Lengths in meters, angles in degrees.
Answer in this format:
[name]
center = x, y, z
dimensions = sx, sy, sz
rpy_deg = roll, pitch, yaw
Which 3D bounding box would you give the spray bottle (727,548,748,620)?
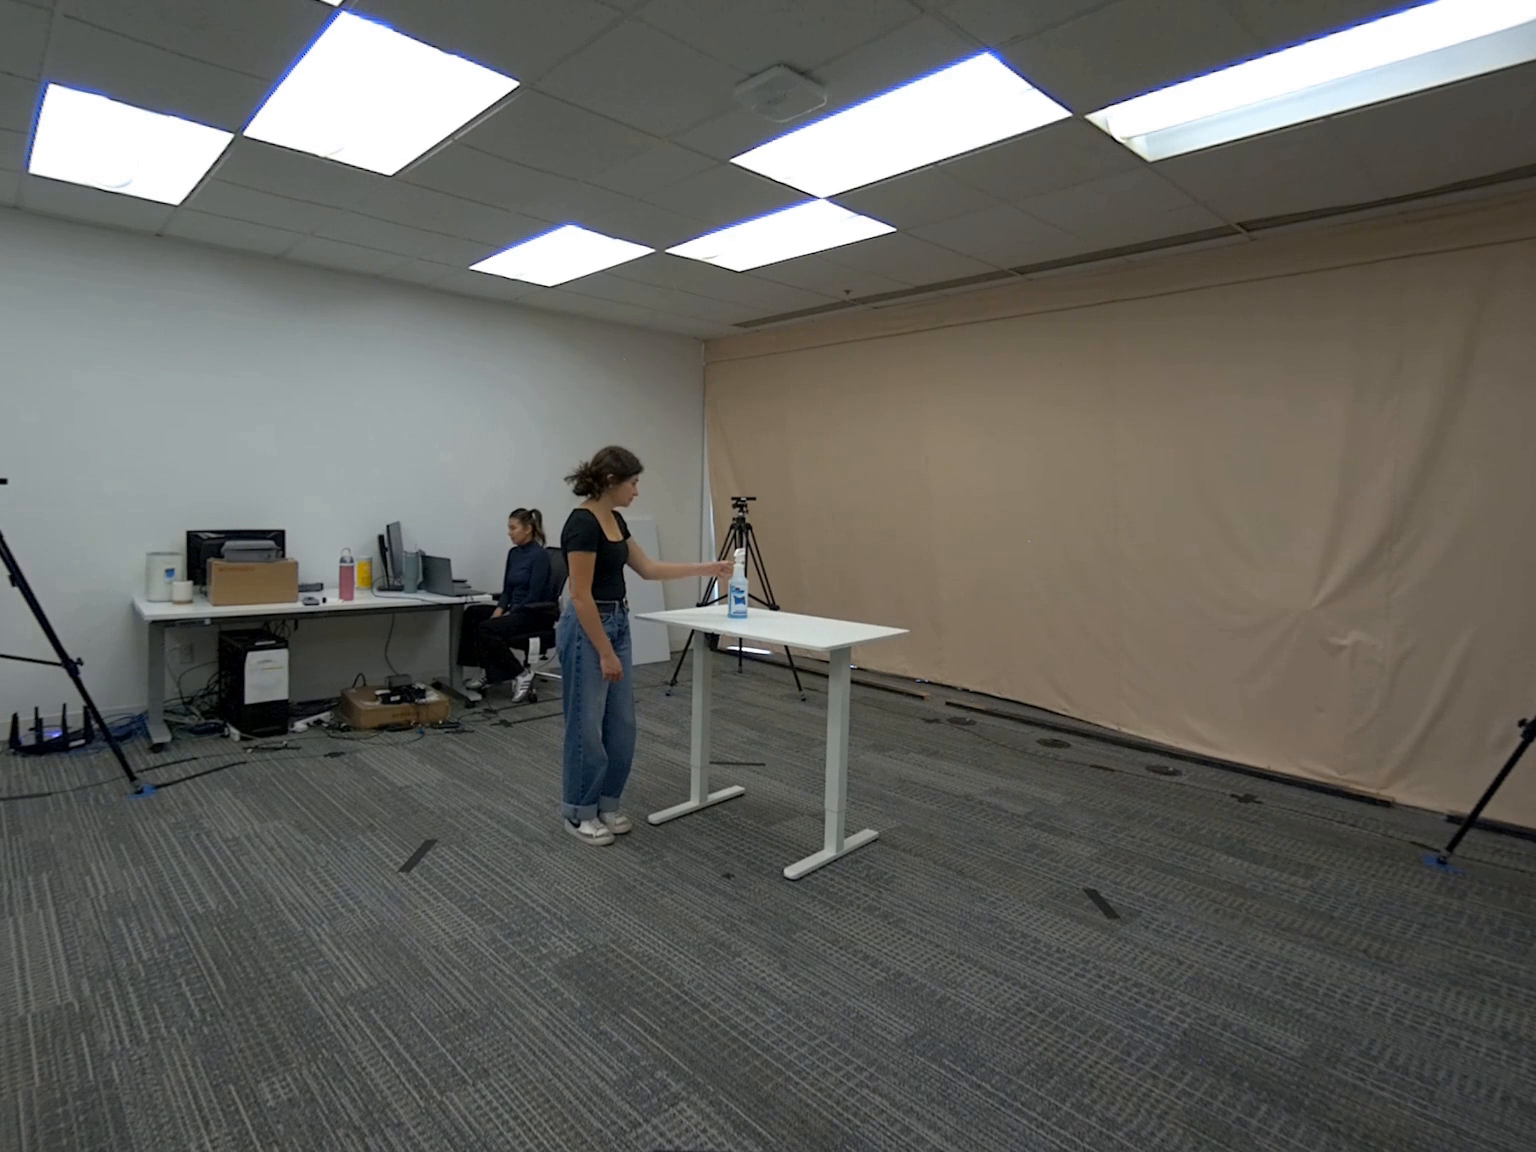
[spray bottle]
center = -0.140, 0.033, 3.632
dimensions = 0.088, 0.296, 0.089
rpy_deg = -2, 5, -40
